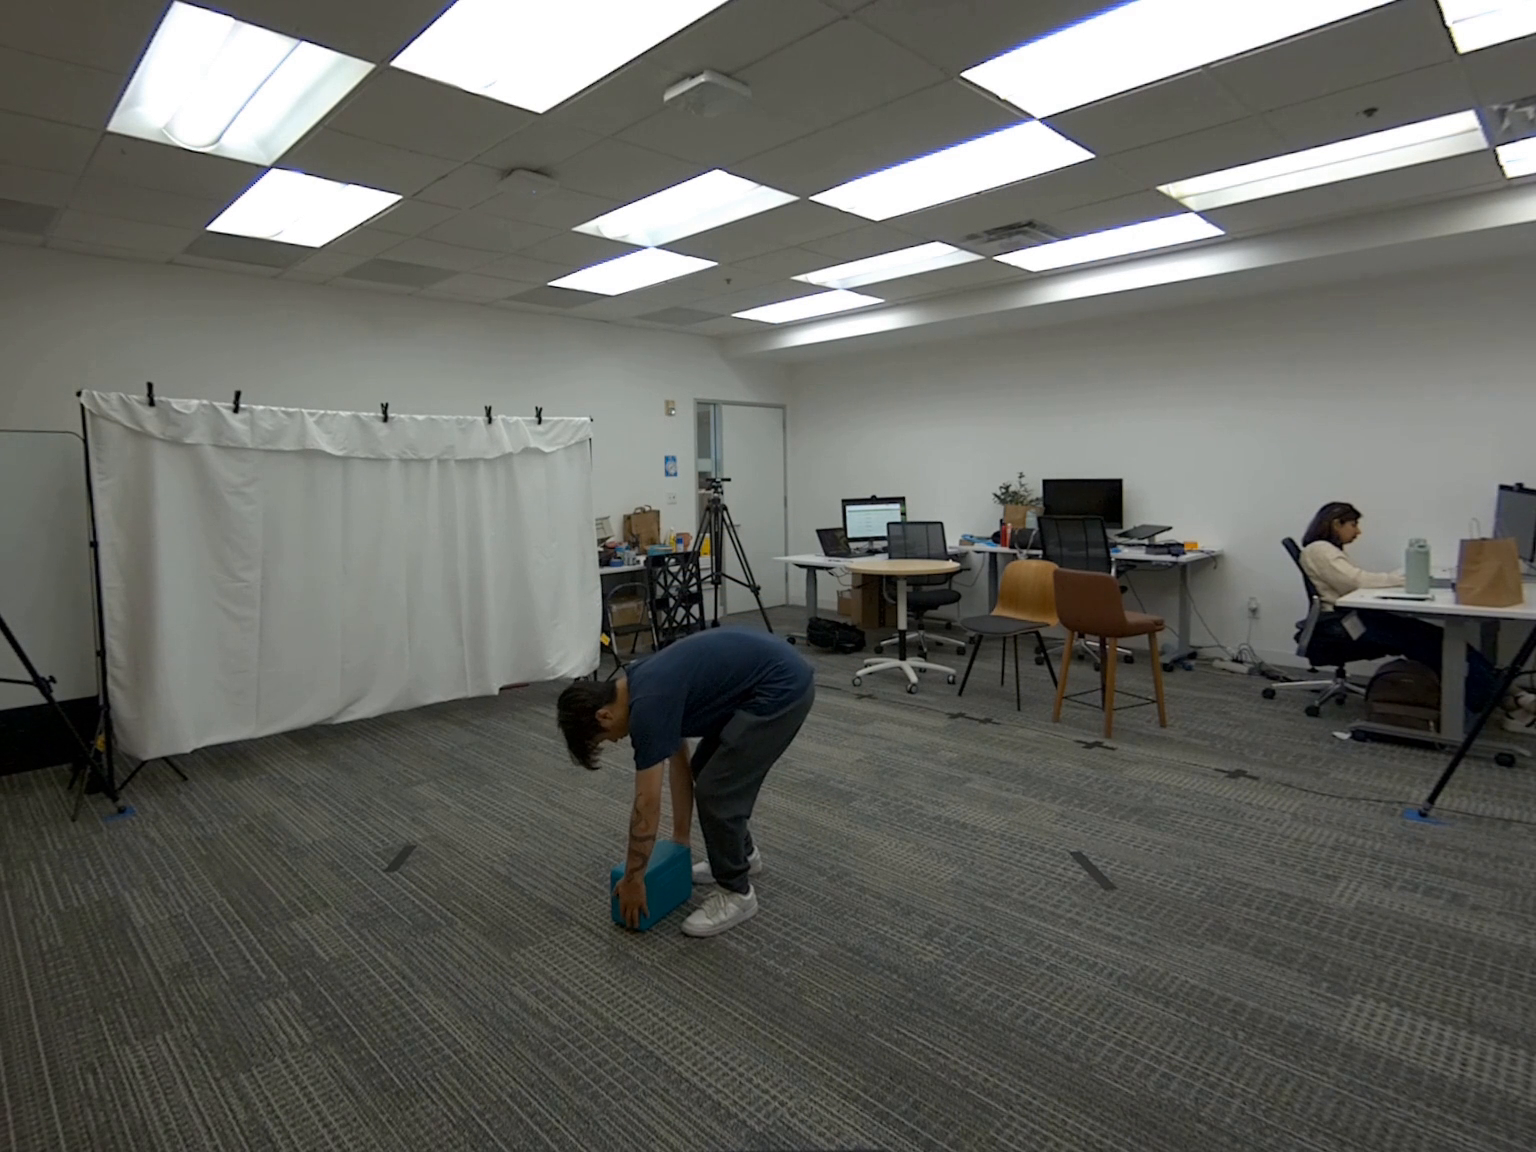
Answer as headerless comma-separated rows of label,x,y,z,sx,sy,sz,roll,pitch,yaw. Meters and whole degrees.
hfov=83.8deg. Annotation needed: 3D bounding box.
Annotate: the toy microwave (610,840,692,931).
toy microwave,-0.376,0.995,2.771,0.156,0.183,0.280,2,7,29
